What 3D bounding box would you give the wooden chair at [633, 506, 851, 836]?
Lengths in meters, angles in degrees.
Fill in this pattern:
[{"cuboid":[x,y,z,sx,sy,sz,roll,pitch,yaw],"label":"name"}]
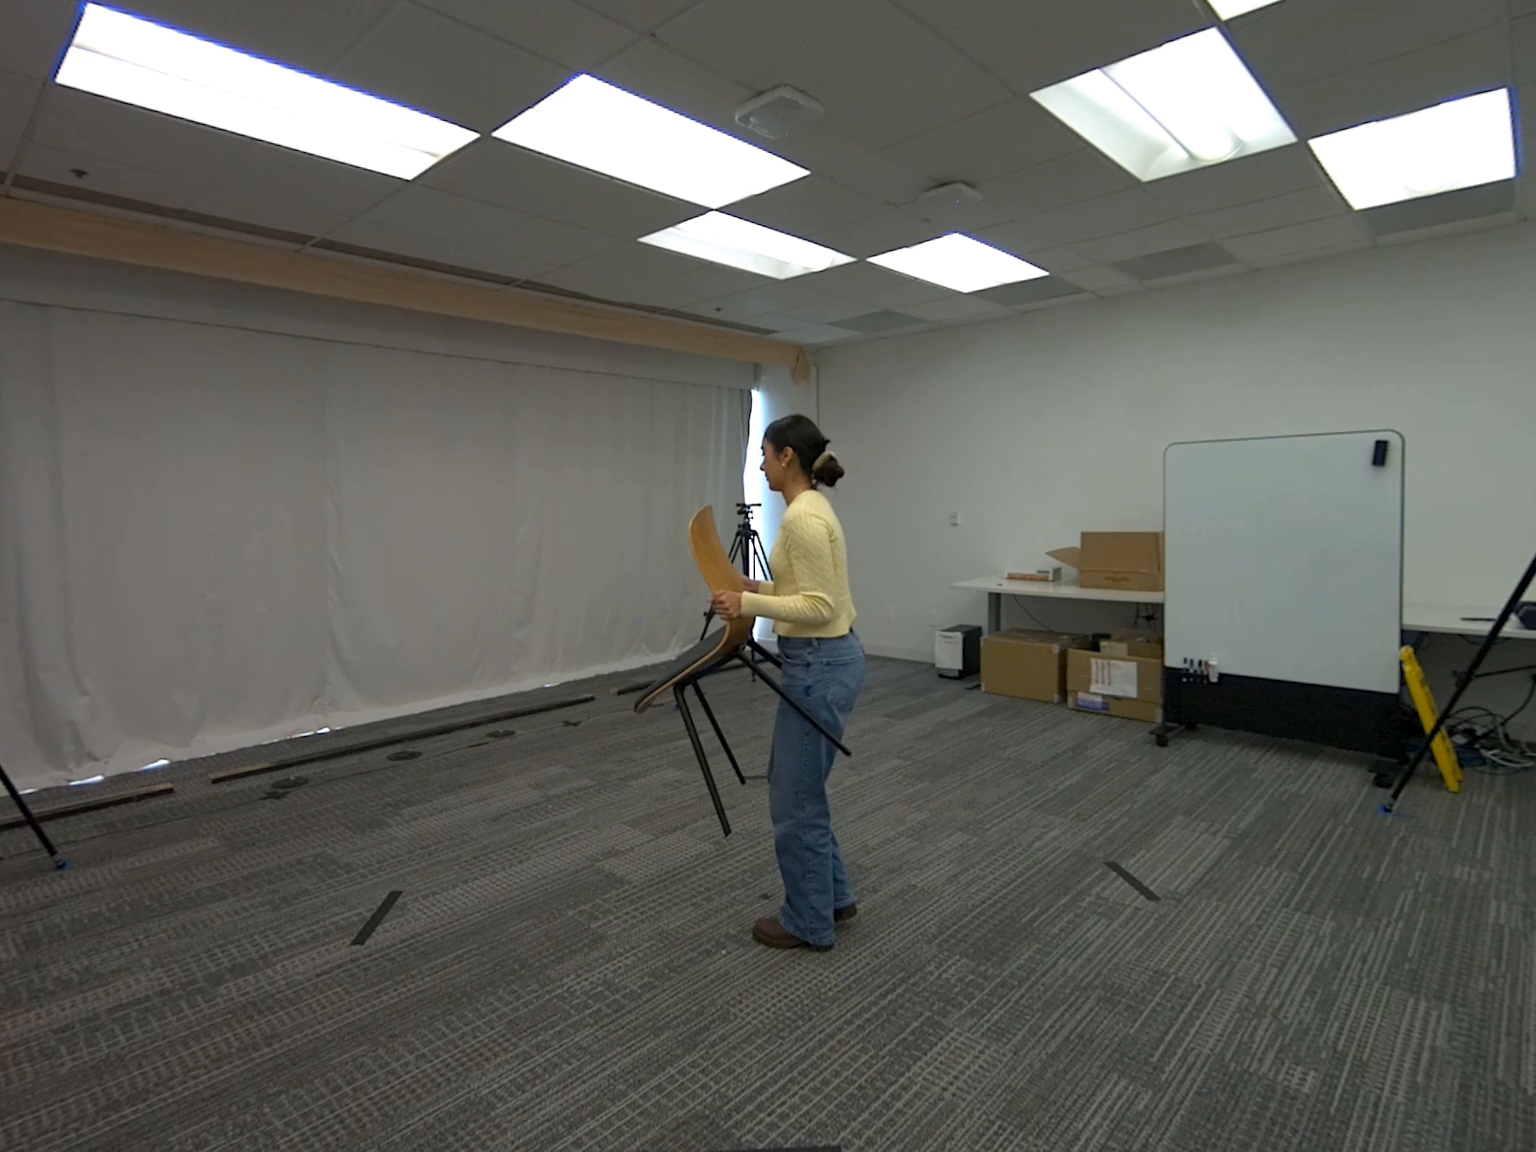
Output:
[{"cuboid":[-0.175,0.290,2.687,0.526,0.877,0.476,-31,1,8],"label":"wooden chair"}]
